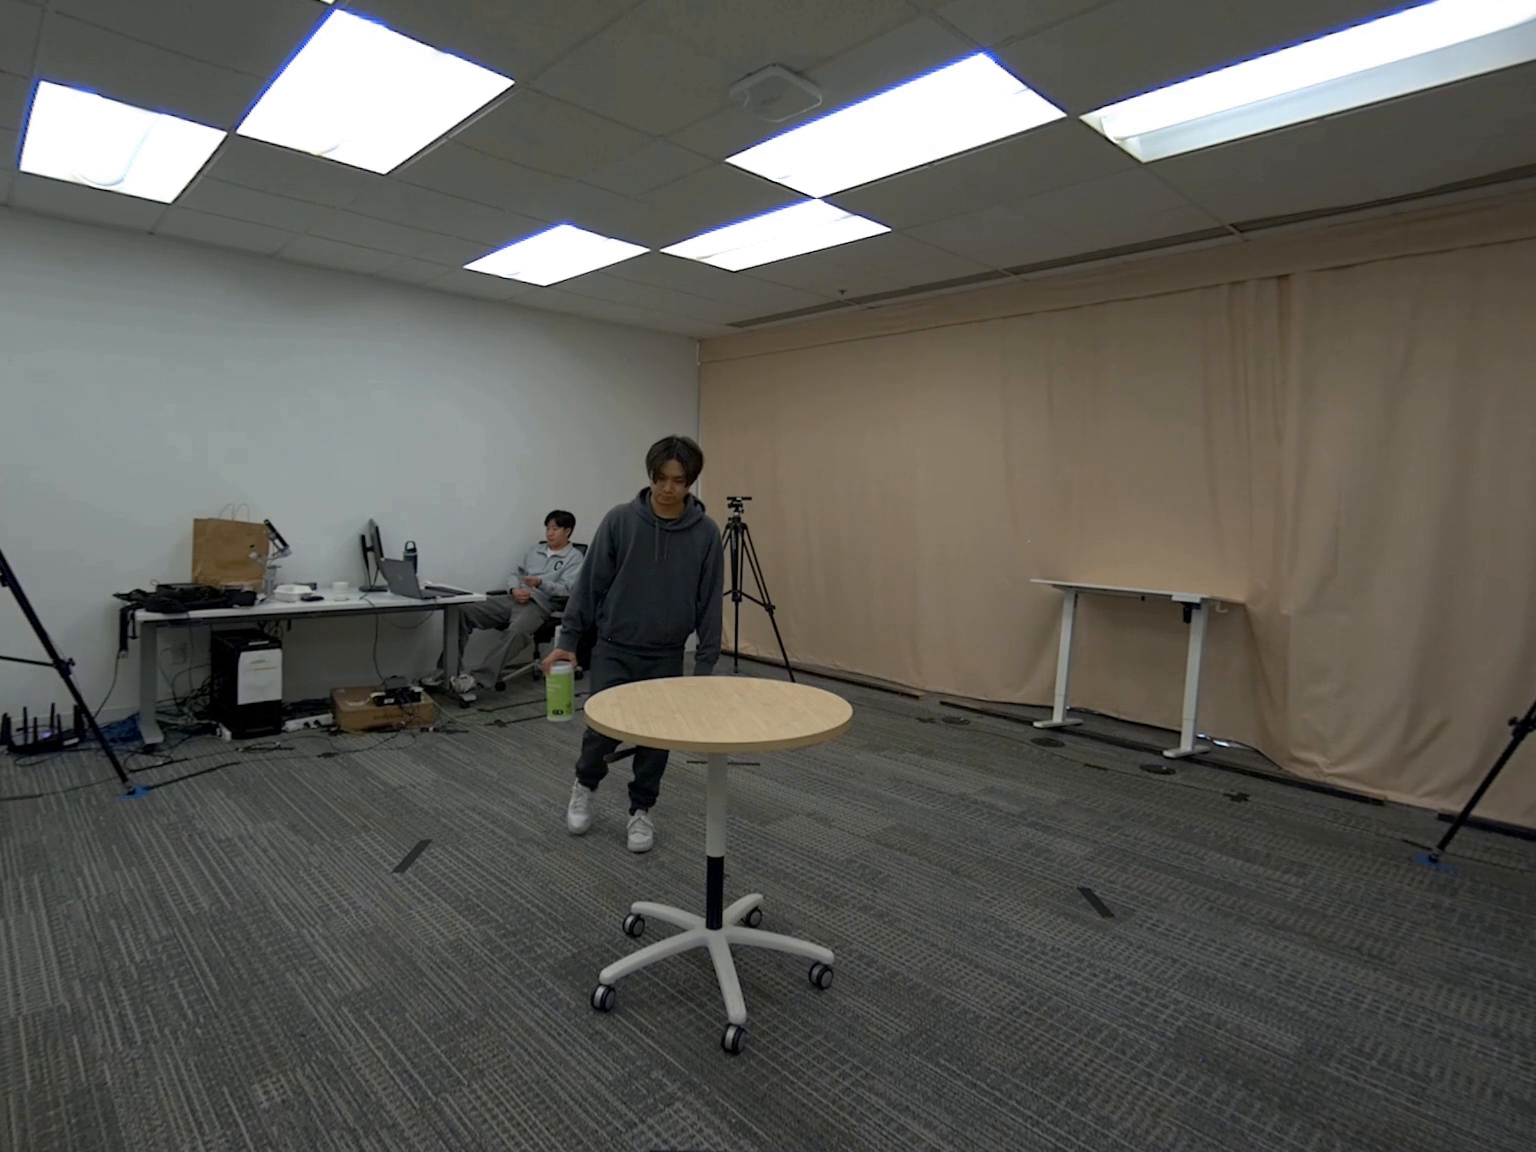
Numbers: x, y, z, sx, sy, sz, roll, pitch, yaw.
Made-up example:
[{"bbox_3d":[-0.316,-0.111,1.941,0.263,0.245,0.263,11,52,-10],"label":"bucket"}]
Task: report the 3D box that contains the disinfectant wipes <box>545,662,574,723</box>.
[{"bbox_3d":[-0.813,0.449,3.284,0.118,0.216,0.118,-1,5,-1],"label":"disinfectant wipes"}]
